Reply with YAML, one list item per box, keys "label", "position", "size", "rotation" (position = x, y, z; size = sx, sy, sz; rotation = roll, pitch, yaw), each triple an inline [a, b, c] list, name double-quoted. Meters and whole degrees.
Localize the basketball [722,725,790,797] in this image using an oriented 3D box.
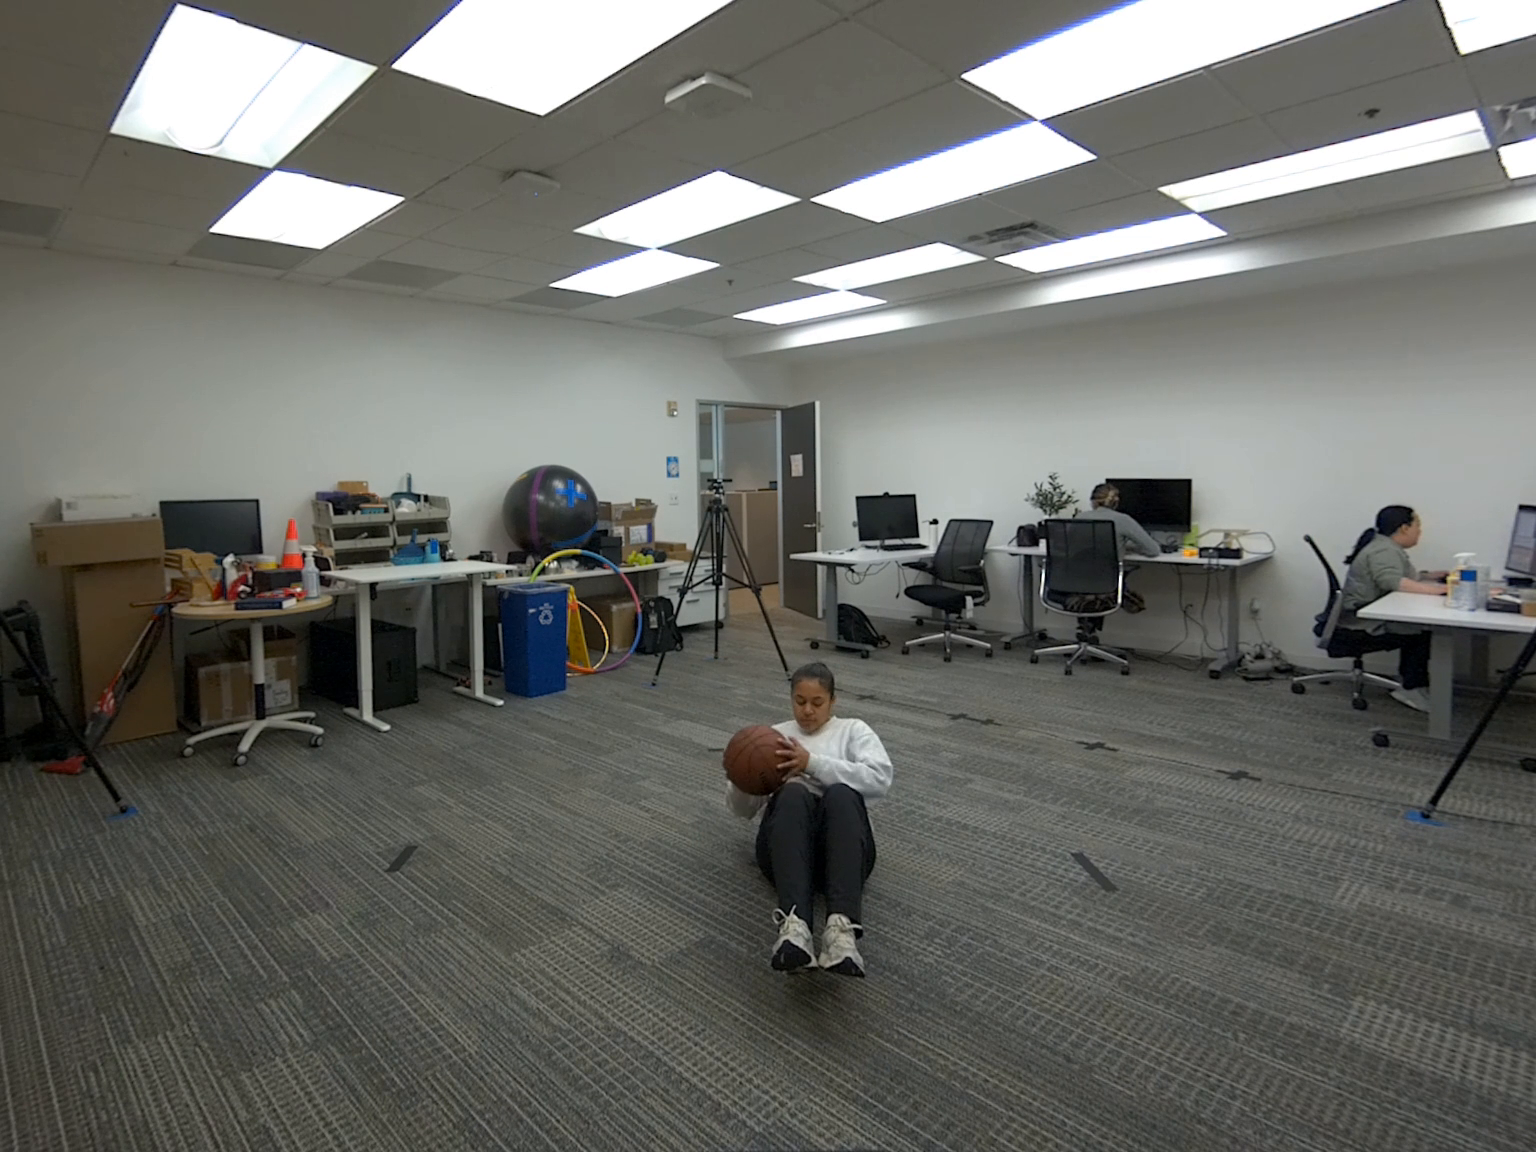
- label: "basketball"
  position: [-0.017, 0.654, 2.969]
  size: [0.236, 0.235, 0.237]
  rotation: [-1, 5, -2]
